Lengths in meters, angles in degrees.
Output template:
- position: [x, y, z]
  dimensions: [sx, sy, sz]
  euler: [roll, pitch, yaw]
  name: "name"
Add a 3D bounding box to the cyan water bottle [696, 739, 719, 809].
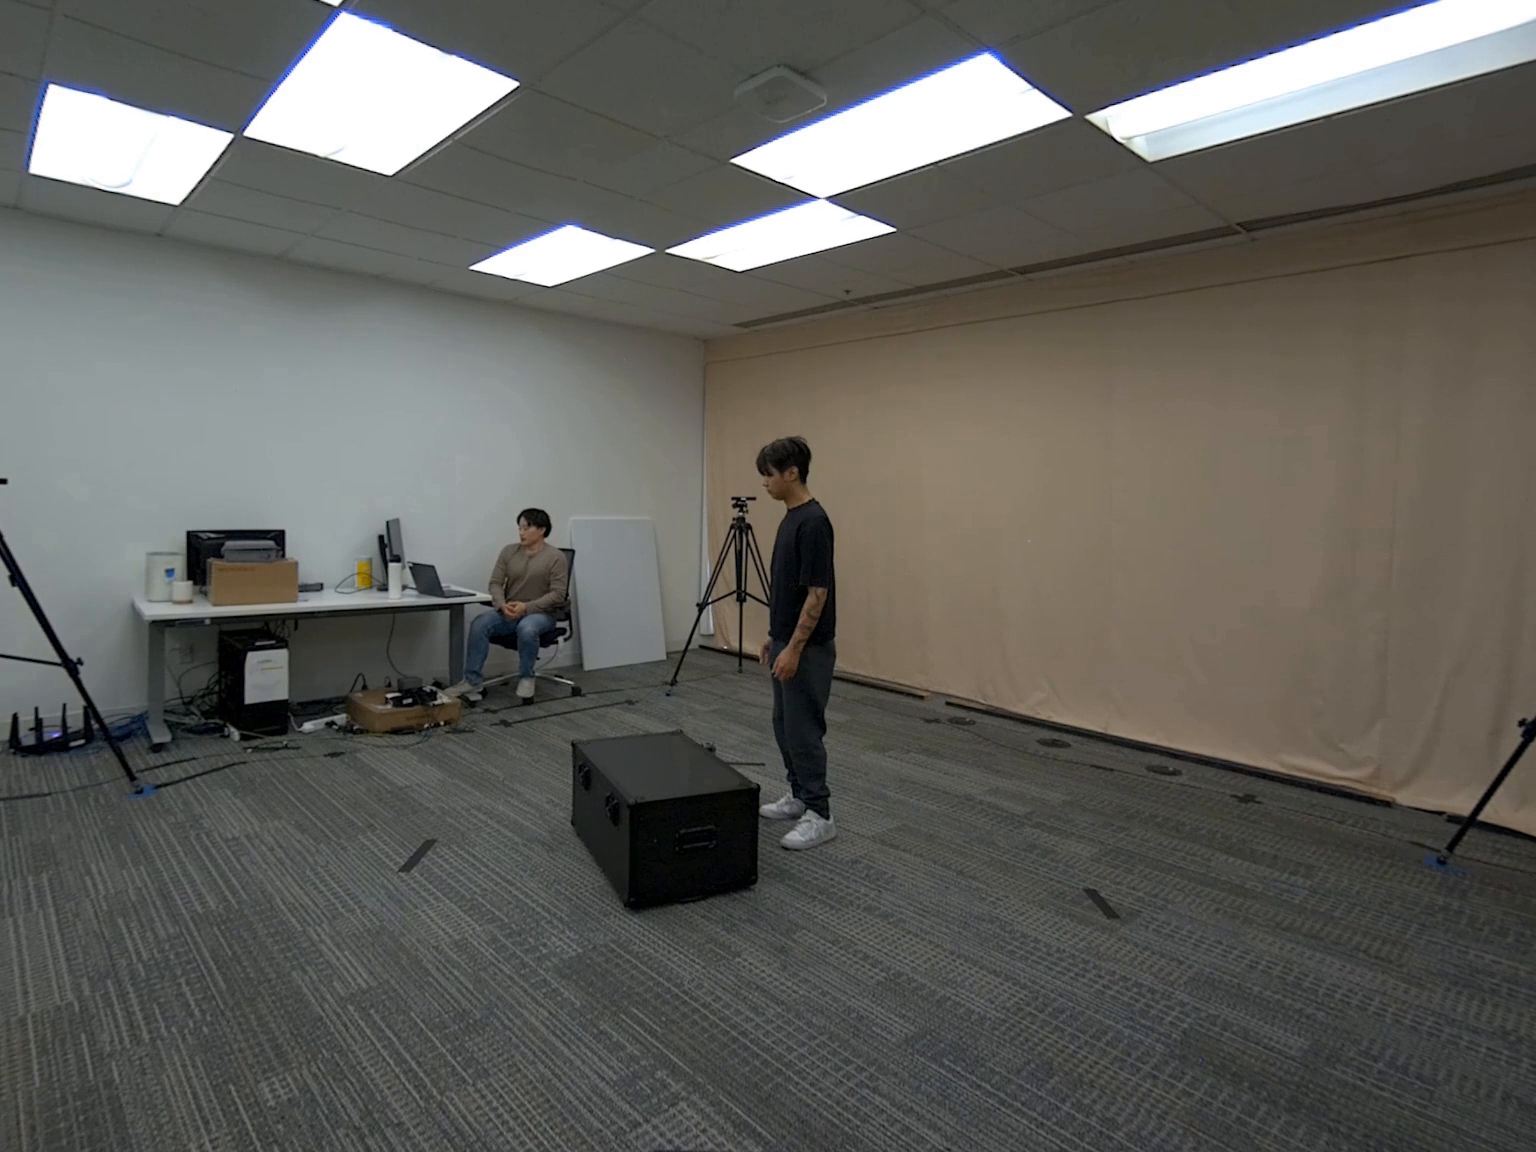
- position: [-0.276, 0.893, 3.832]
  dimensions: [0.092, 0.283, 0.092]
  euler: [1, 1, -1]
  name: "cyan water bottle"
